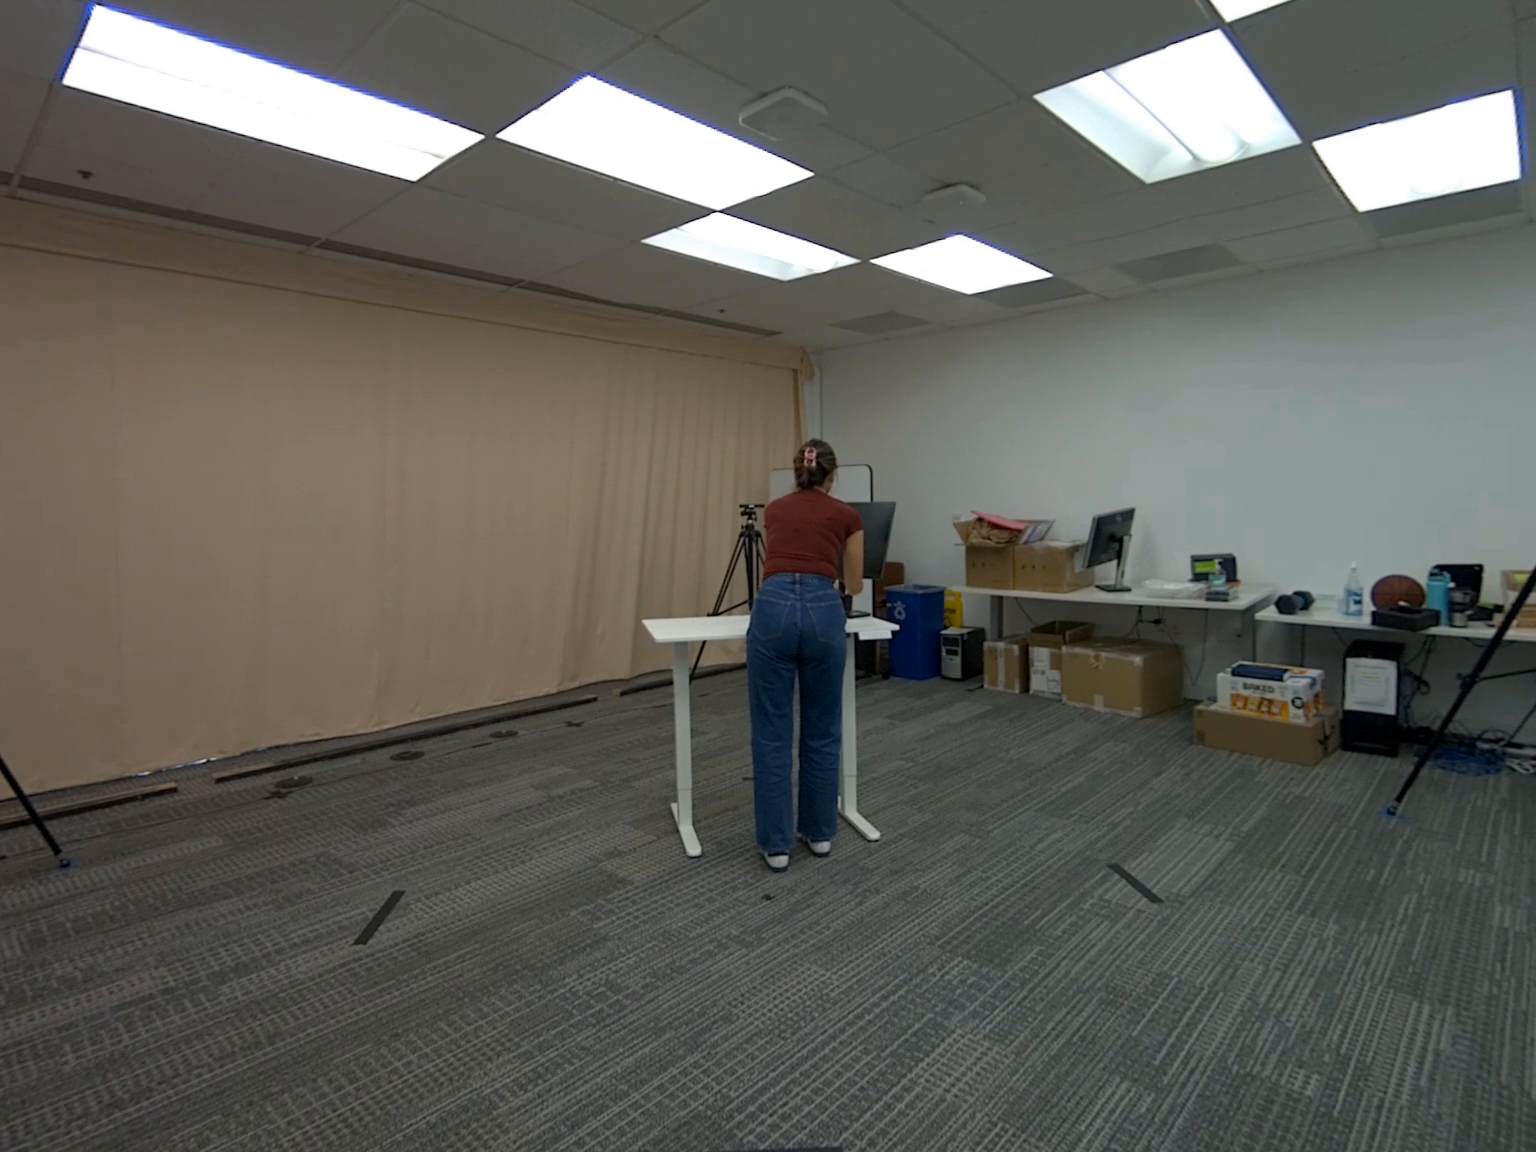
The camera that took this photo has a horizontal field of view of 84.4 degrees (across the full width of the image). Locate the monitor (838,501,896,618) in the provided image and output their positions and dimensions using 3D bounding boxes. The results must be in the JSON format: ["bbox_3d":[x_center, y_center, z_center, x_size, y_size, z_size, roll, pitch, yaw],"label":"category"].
[{"bbox_3d":[0.335,-0.078,3.853,0.557,0.522,0.181,3,0,42],"label":"monitor"}]
